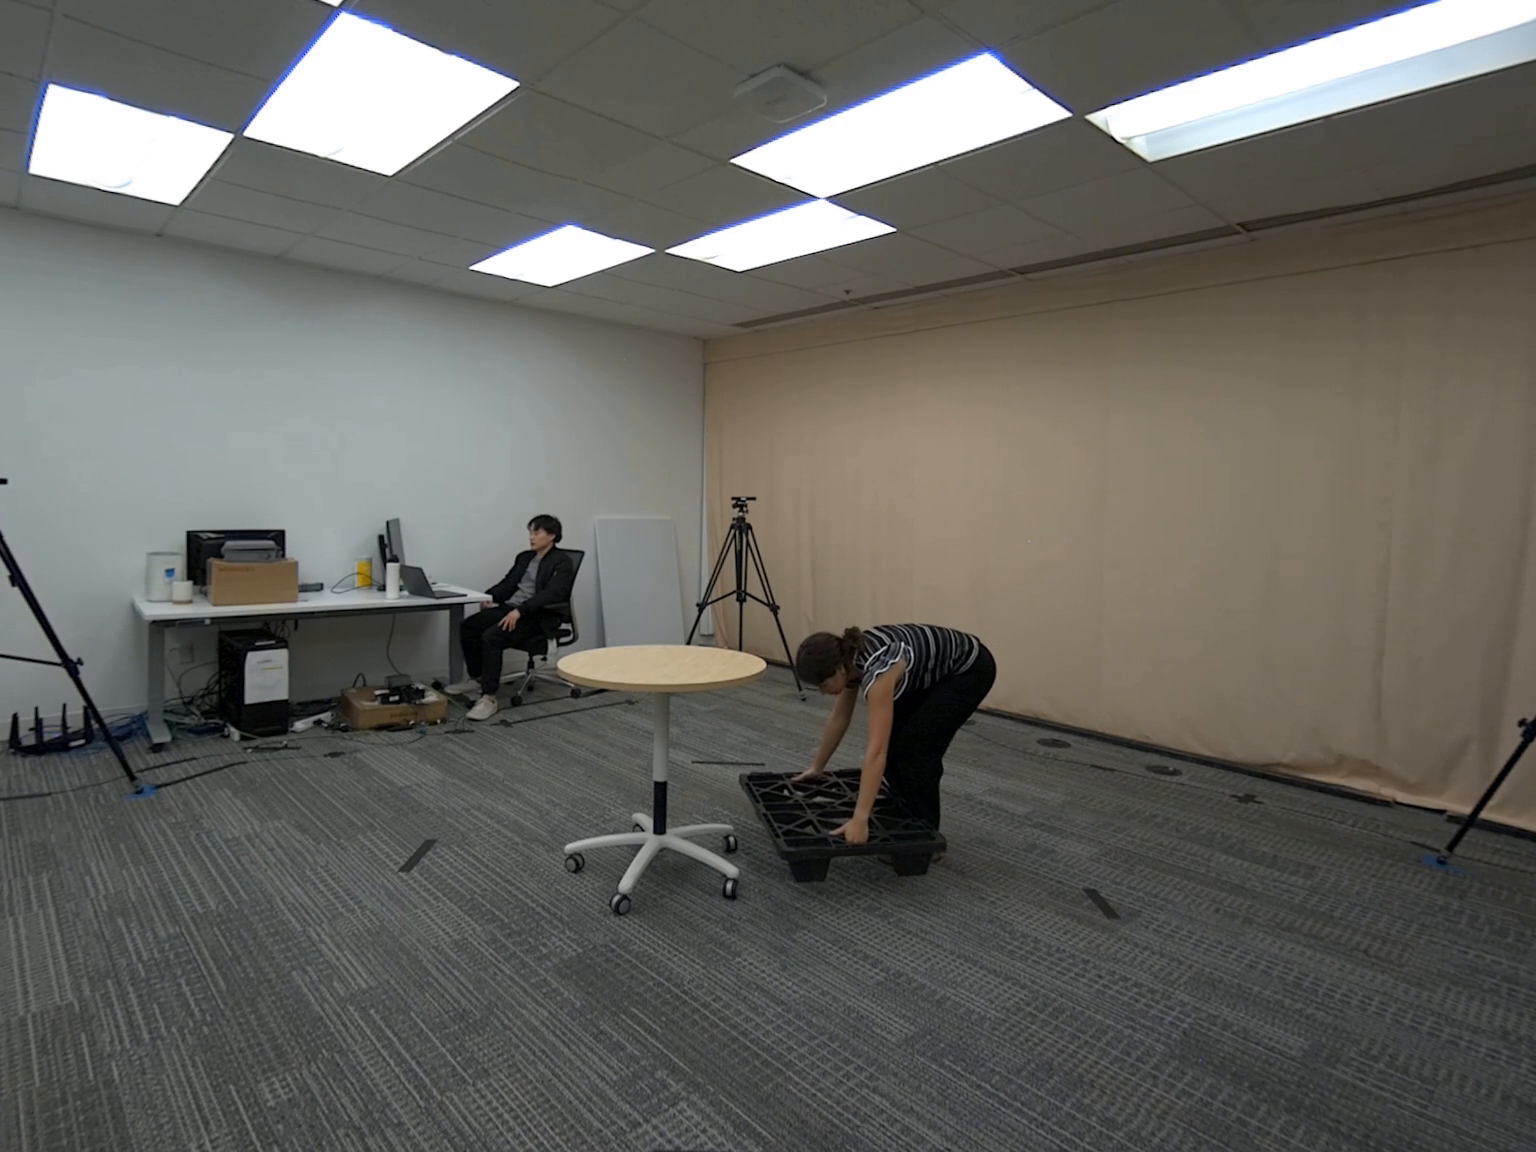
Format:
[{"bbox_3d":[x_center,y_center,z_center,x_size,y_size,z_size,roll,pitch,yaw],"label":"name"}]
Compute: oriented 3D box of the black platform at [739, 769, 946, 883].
[{"bbox_3d":[0.238,0.952,3.266,0.600,0.143,0.815,0,5,-11],"label":"black platform"}]
